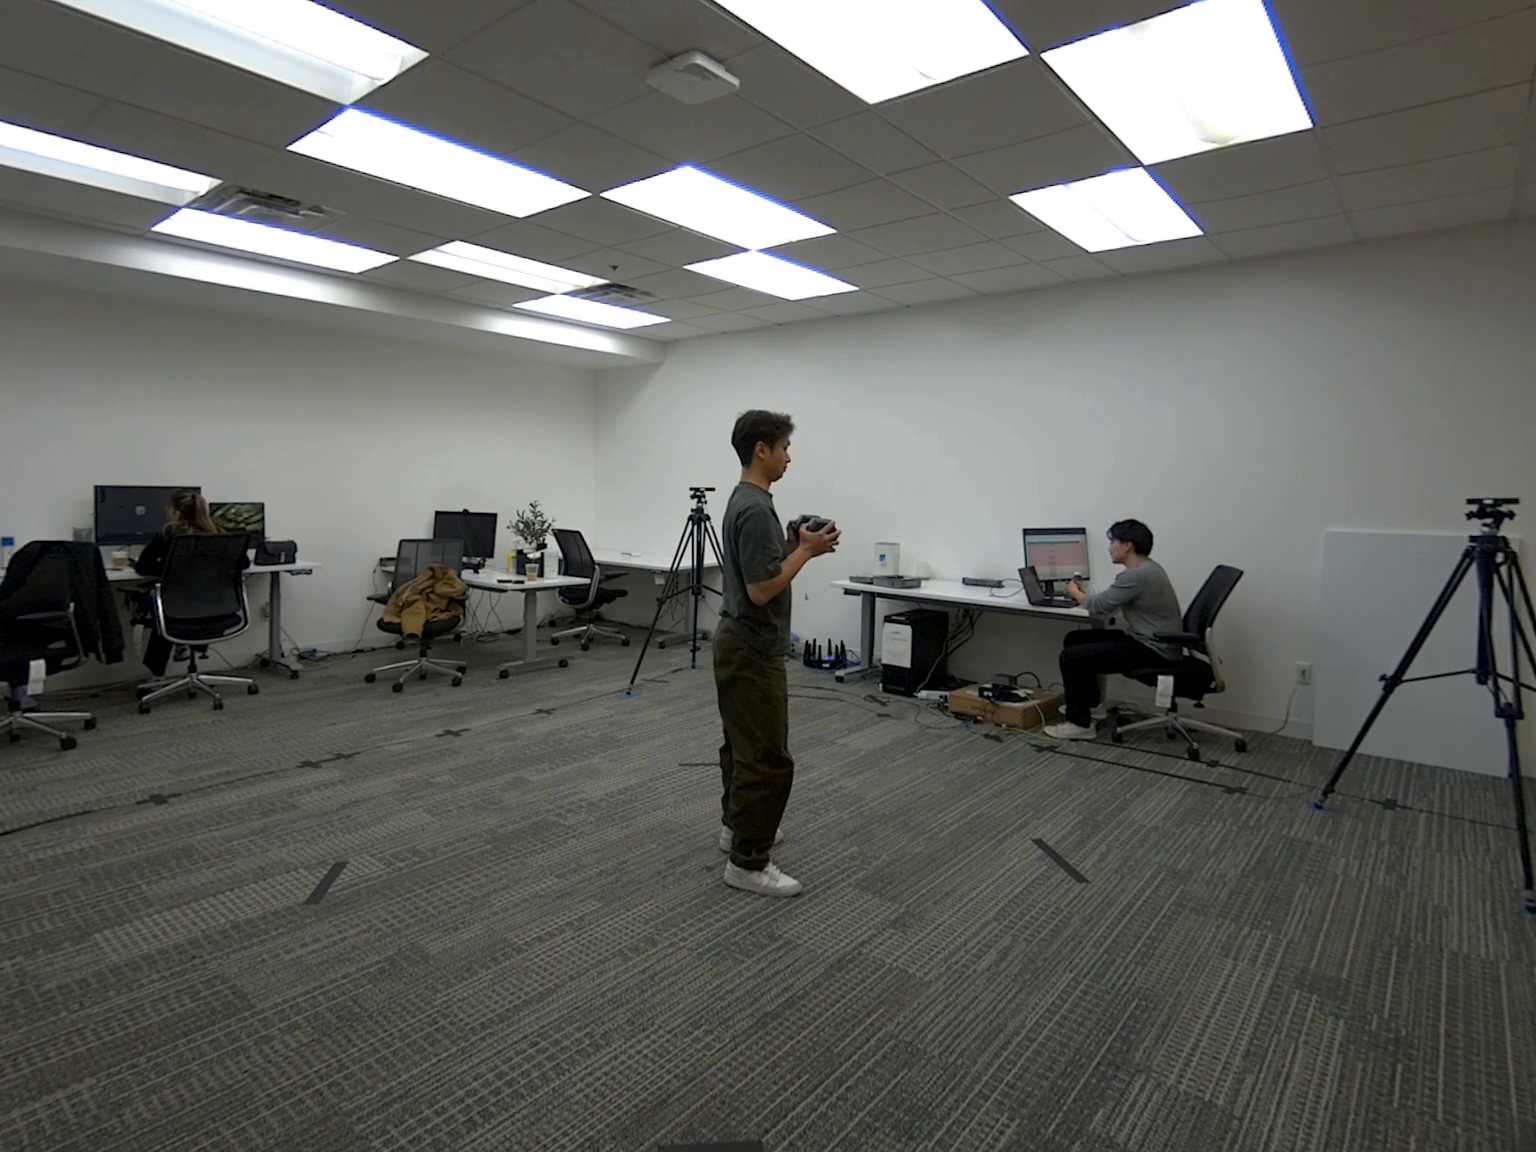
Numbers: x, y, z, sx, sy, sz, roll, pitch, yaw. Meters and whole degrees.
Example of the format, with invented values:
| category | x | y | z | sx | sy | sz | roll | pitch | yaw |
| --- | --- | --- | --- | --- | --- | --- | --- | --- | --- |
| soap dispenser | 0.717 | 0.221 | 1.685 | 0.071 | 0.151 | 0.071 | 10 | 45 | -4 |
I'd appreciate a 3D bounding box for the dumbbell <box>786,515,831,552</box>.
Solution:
| category | x | y | z | sx | sy | sz | roll | pitch | yaw |
| --- | --- | --- | --- | --- | --- | --- | --- | --- | --- |
| dumbbell | 0.149 | -0.157 | 3.104 | 0.107 | 0.123 | 0.298 | 32 | 4 | -12 |
